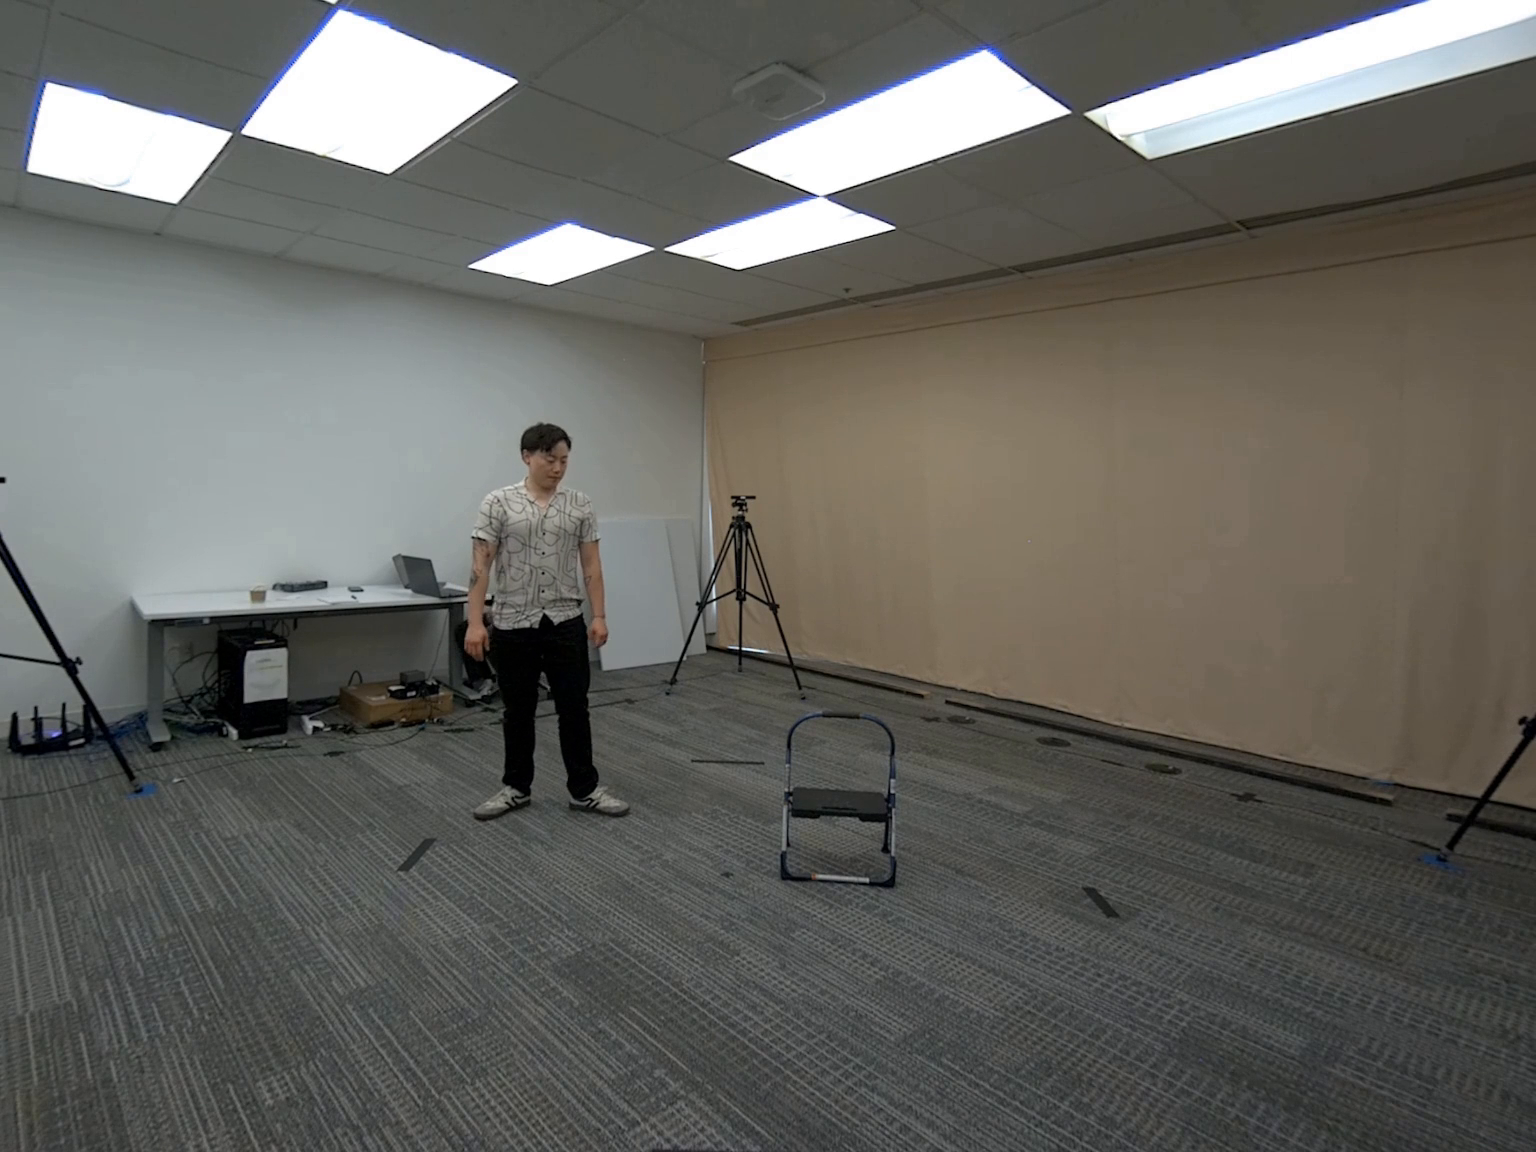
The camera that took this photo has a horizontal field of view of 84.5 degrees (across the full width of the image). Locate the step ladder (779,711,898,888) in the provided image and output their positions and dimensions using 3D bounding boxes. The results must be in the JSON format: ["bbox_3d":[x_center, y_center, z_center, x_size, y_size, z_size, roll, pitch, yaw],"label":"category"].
[{"bbox_3d":[0.264,0.801,3.197,0.432,0.605,0.348,2,3,4],"label":"step ladder"}]
